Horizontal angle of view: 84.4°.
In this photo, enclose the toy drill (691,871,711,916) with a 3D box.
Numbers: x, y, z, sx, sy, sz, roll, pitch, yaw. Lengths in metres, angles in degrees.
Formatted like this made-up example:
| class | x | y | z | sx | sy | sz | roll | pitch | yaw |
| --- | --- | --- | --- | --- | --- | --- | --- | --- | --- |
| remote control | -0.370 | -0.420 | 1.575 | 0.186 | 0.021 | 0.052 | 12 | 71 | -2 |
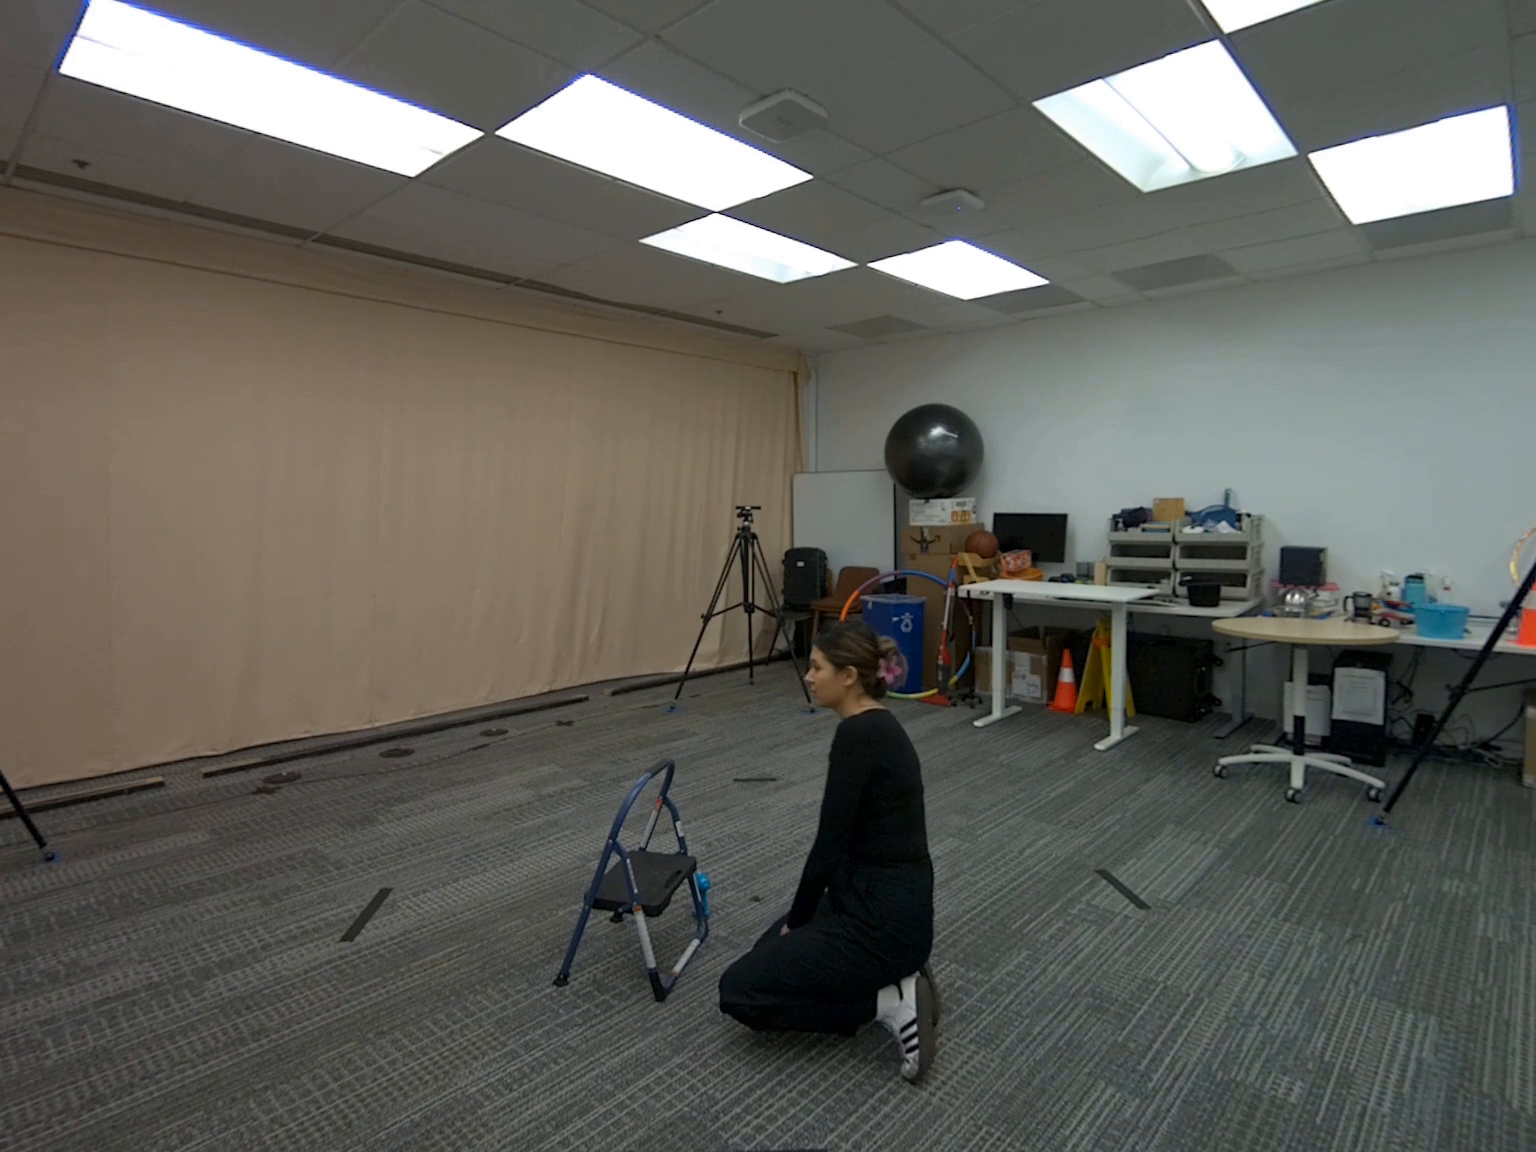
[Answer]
| class | x | y | z | sx | sy | sz | roll | pitch | yaw |
| --- | --- | --- | --- | --- | --- | --- | --- | --- | --- |
| toy drill | -0.241 | 1.083 | 2.890 | 0.059 | 0.146 | 0.174 | -2 | 3 | -30 |
